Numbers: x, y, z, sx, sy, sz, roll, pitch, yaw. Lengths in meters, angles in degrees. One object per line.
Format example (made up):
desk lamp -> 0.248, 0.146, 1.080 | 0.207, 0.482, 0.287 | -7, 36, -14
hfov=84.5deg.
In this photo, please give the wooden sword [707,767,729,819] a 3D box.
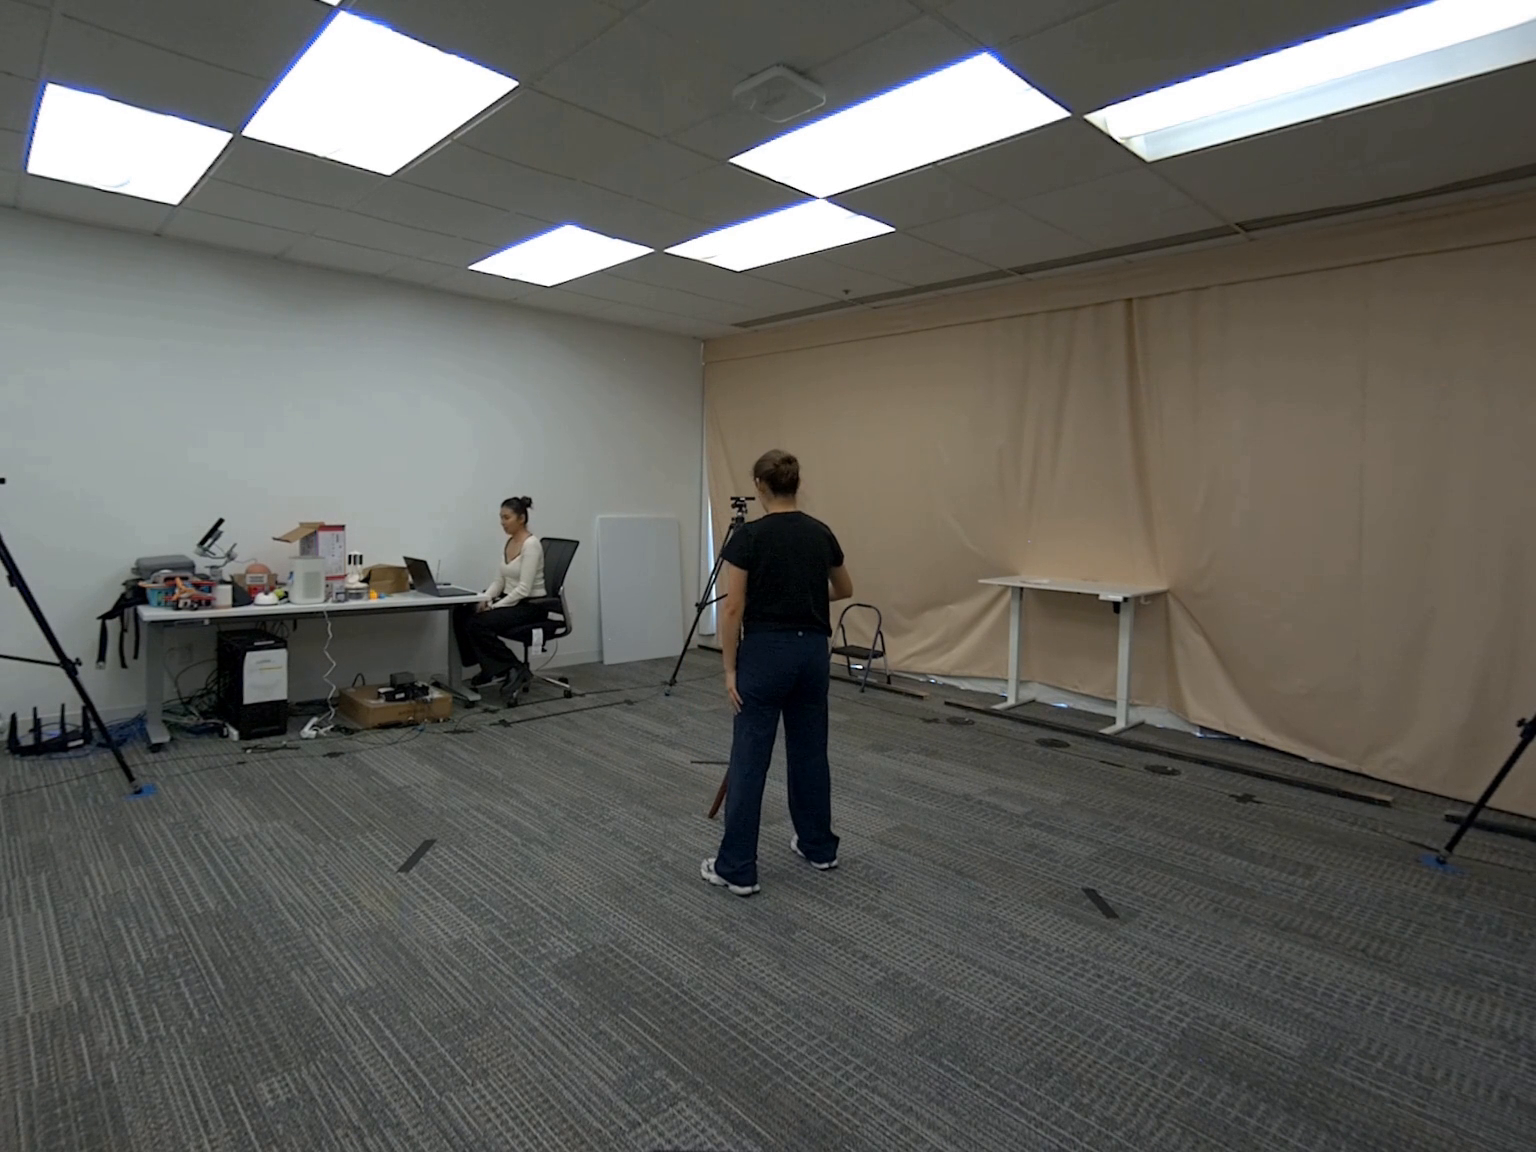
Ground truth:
wooden sword -> -0.083, 0.582, 3.559 | 0.024, 1.020, 0.052 | 17, 10, -5
